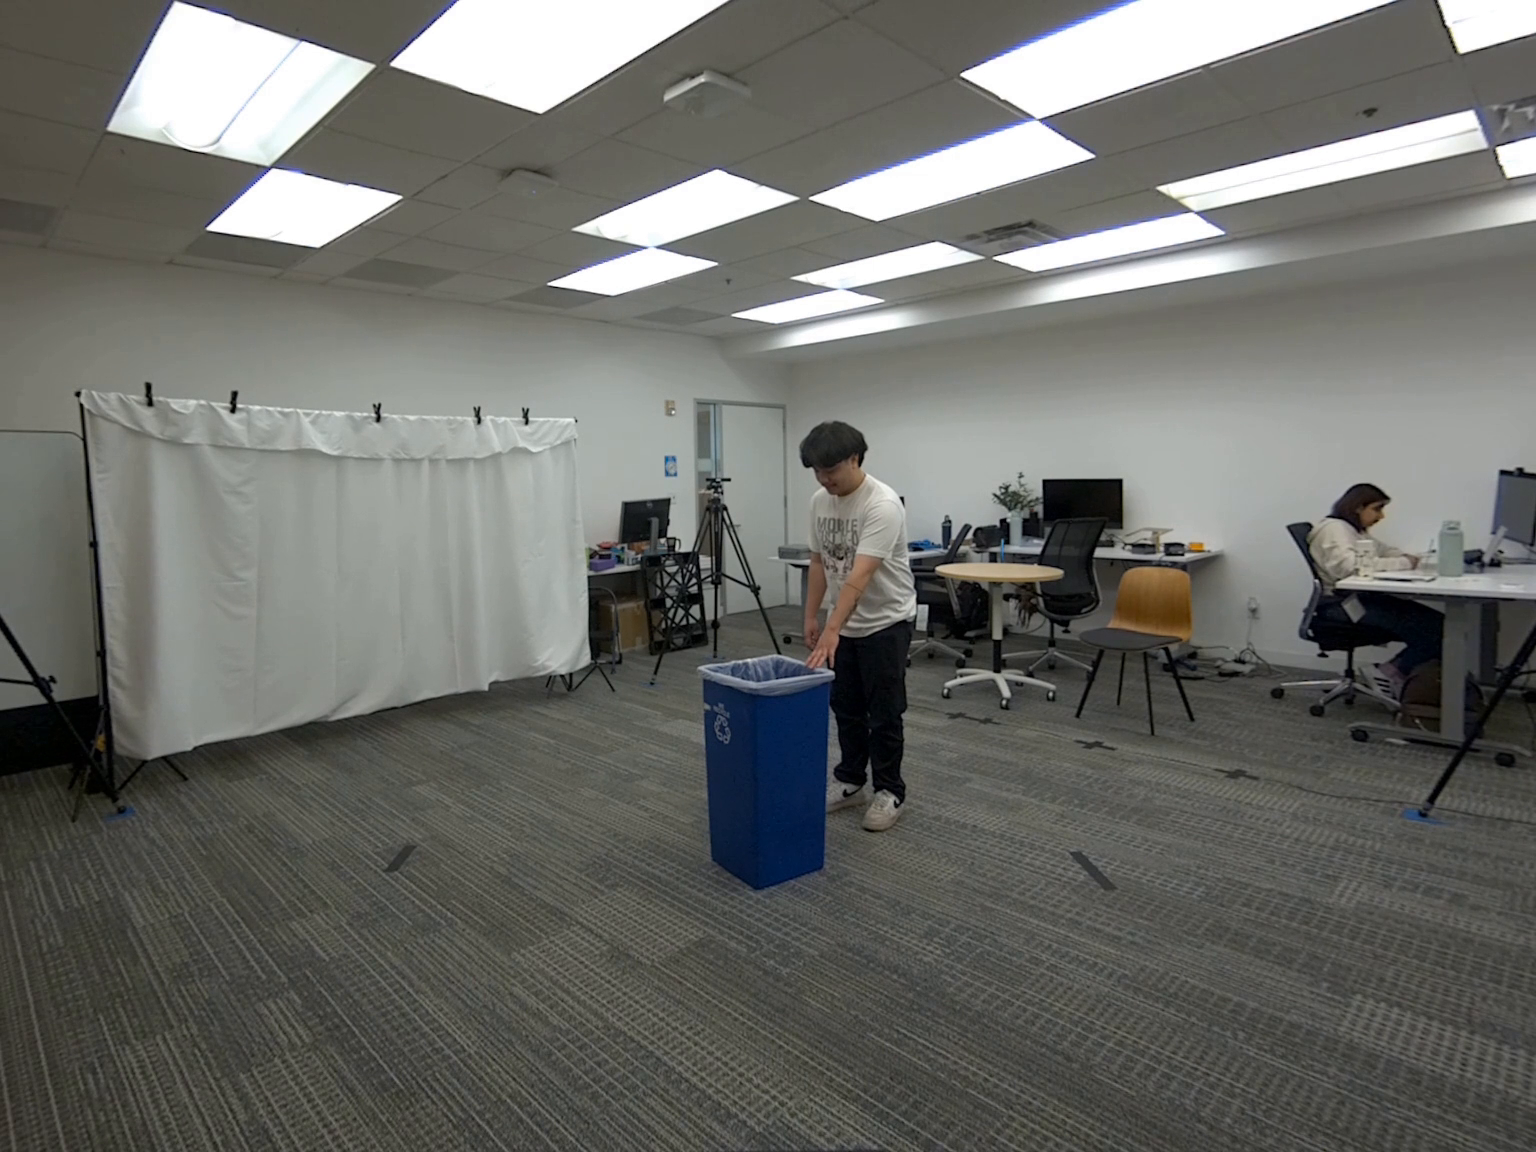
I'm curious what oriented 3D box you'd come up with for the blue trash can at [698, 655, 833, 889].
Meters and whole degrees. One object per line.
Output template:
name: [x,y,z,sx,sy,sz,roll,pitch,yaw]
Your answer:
blue trash can: [0.001,0.686,3.068,0.368,0.711,0.385,-4,5,-35]
